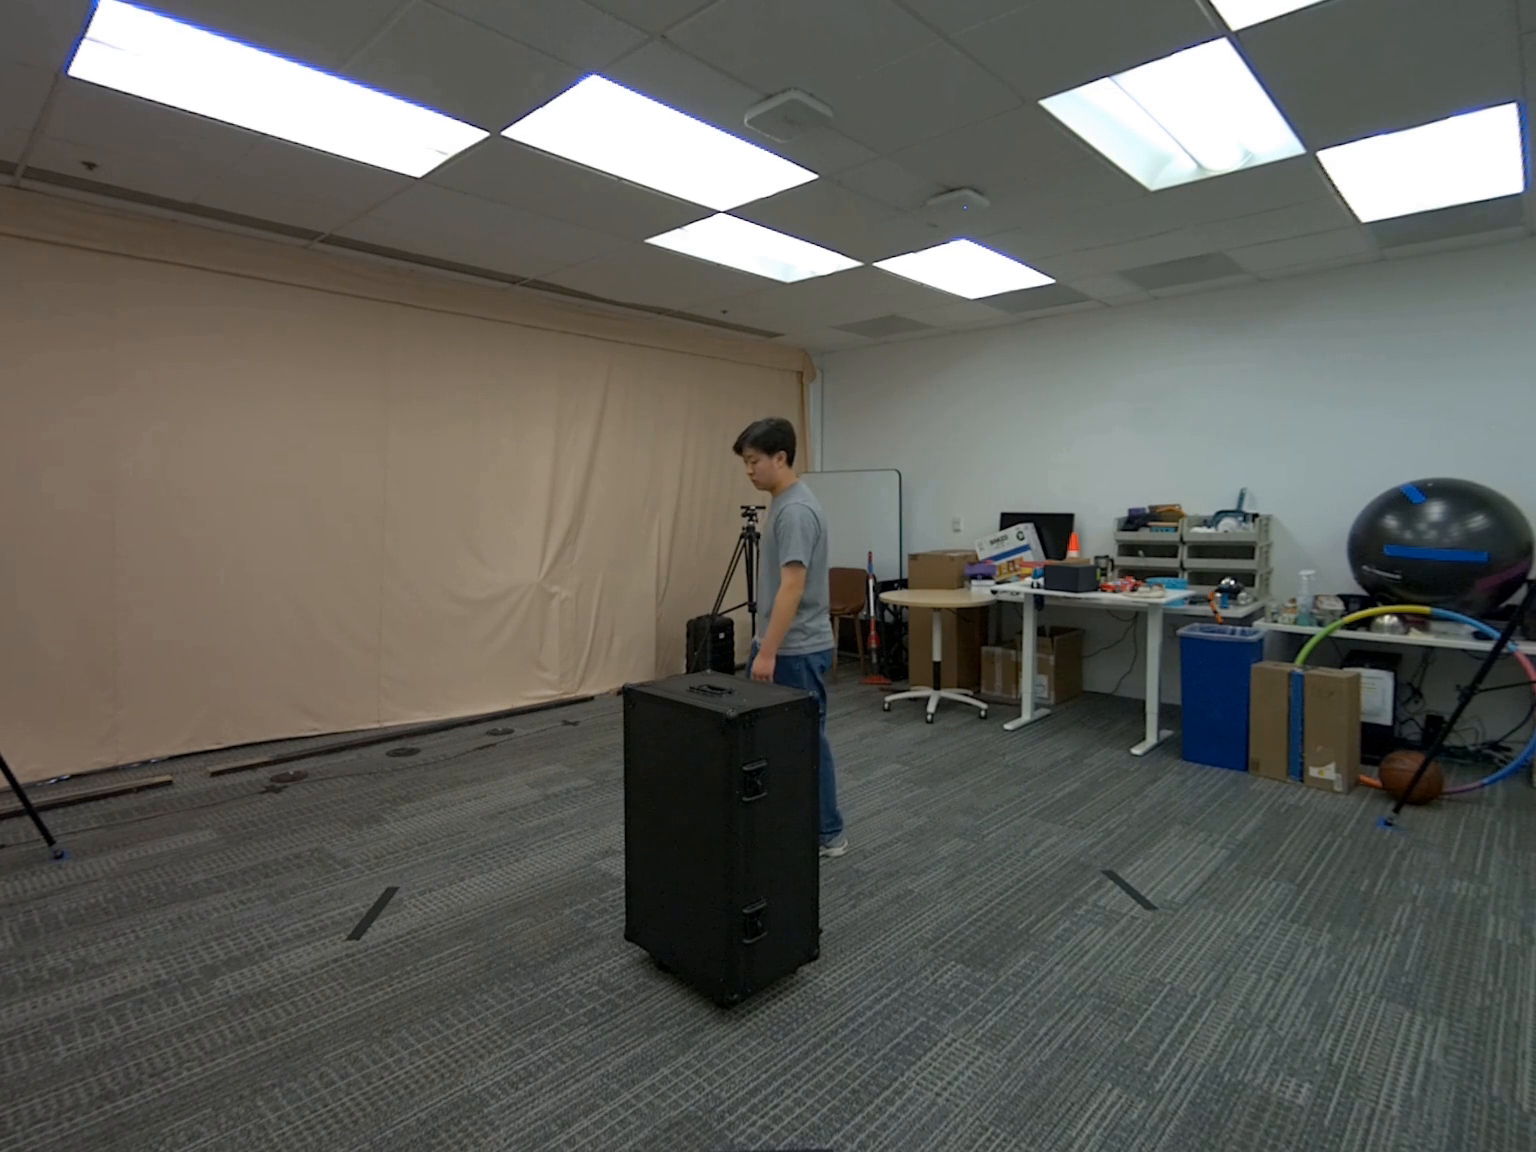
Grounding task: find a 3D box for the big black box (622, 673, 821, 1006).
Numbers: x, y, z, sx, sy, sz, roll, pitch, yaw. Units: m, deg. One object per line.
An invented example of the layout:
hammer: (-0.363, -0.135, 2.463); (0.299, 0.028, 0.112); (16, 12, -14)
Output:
big black box: (-0.141, 0.756, 2.503); (0.384, 0.860, 0.538); (-2, 3, -44)
